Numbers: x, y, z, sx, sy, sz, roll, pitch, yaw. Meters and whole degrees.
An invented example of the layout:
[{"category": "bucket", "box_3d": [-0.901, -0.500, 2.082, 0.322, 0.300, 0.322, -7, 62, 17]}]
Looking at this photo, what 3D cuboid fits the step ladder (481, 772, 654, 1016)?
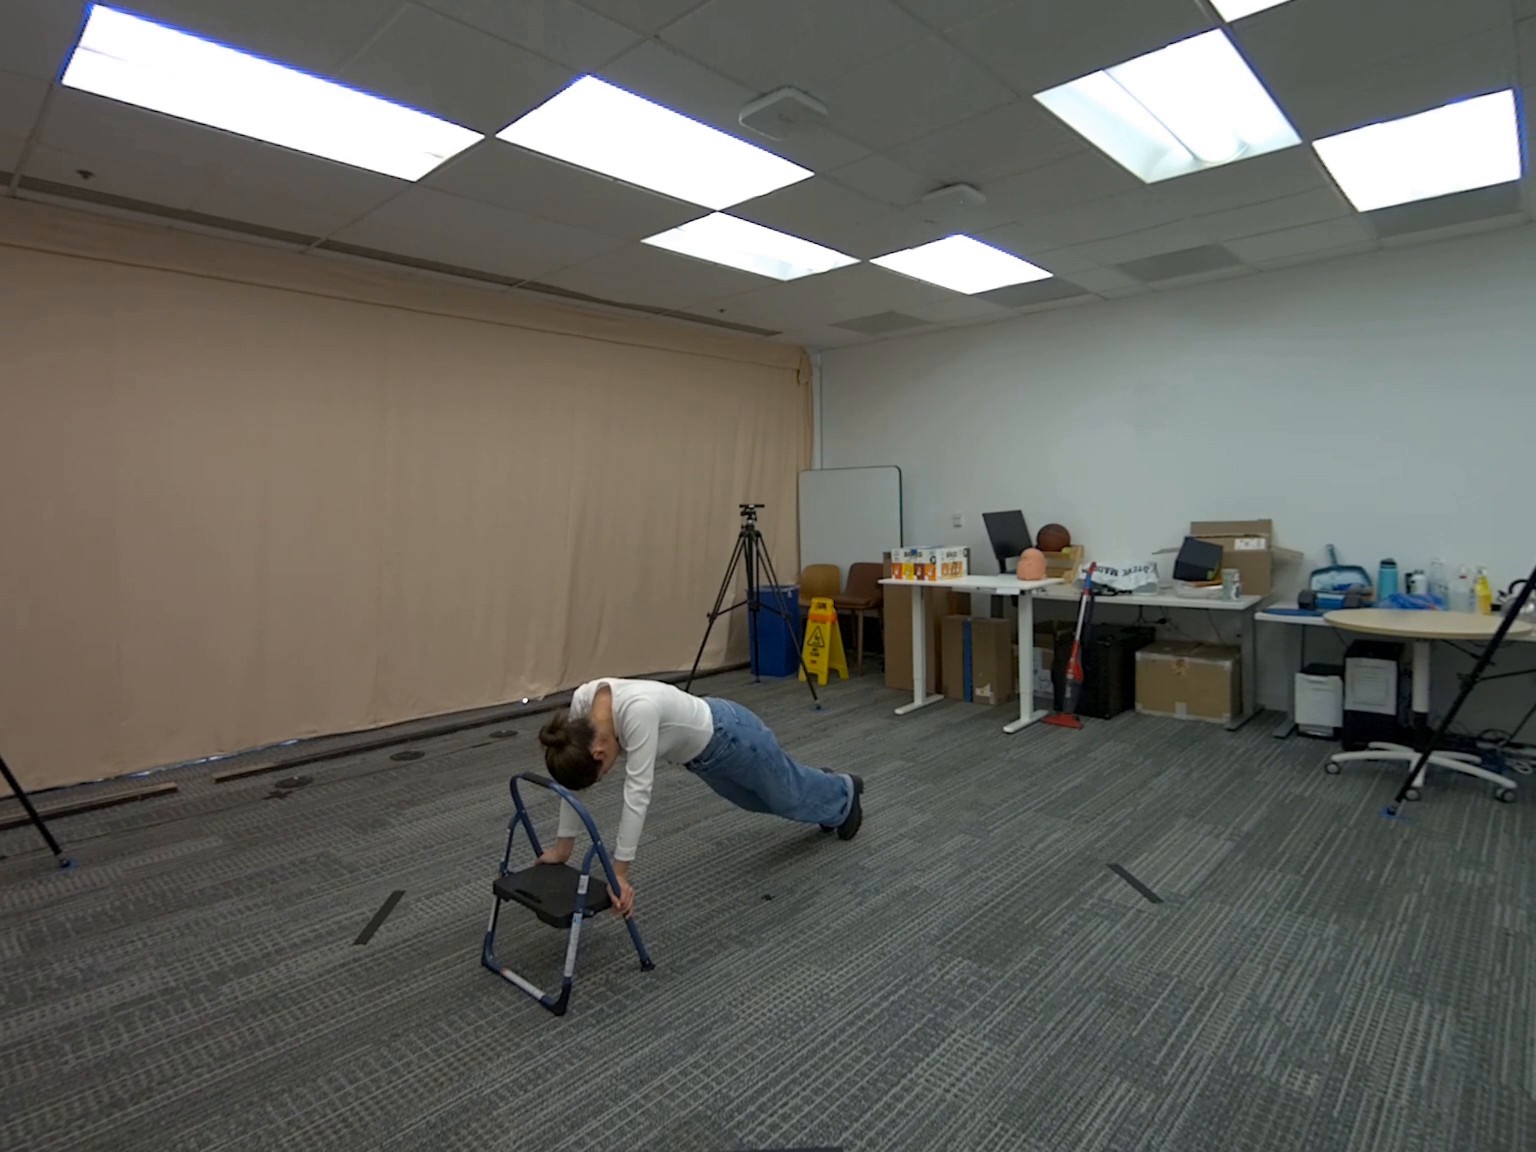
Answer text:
[{"category": "step ladder", "box_3d": [-0.623, 0.892, 2.547, 0.445, 0.605, 0.339, 2, 4, 42]}]
